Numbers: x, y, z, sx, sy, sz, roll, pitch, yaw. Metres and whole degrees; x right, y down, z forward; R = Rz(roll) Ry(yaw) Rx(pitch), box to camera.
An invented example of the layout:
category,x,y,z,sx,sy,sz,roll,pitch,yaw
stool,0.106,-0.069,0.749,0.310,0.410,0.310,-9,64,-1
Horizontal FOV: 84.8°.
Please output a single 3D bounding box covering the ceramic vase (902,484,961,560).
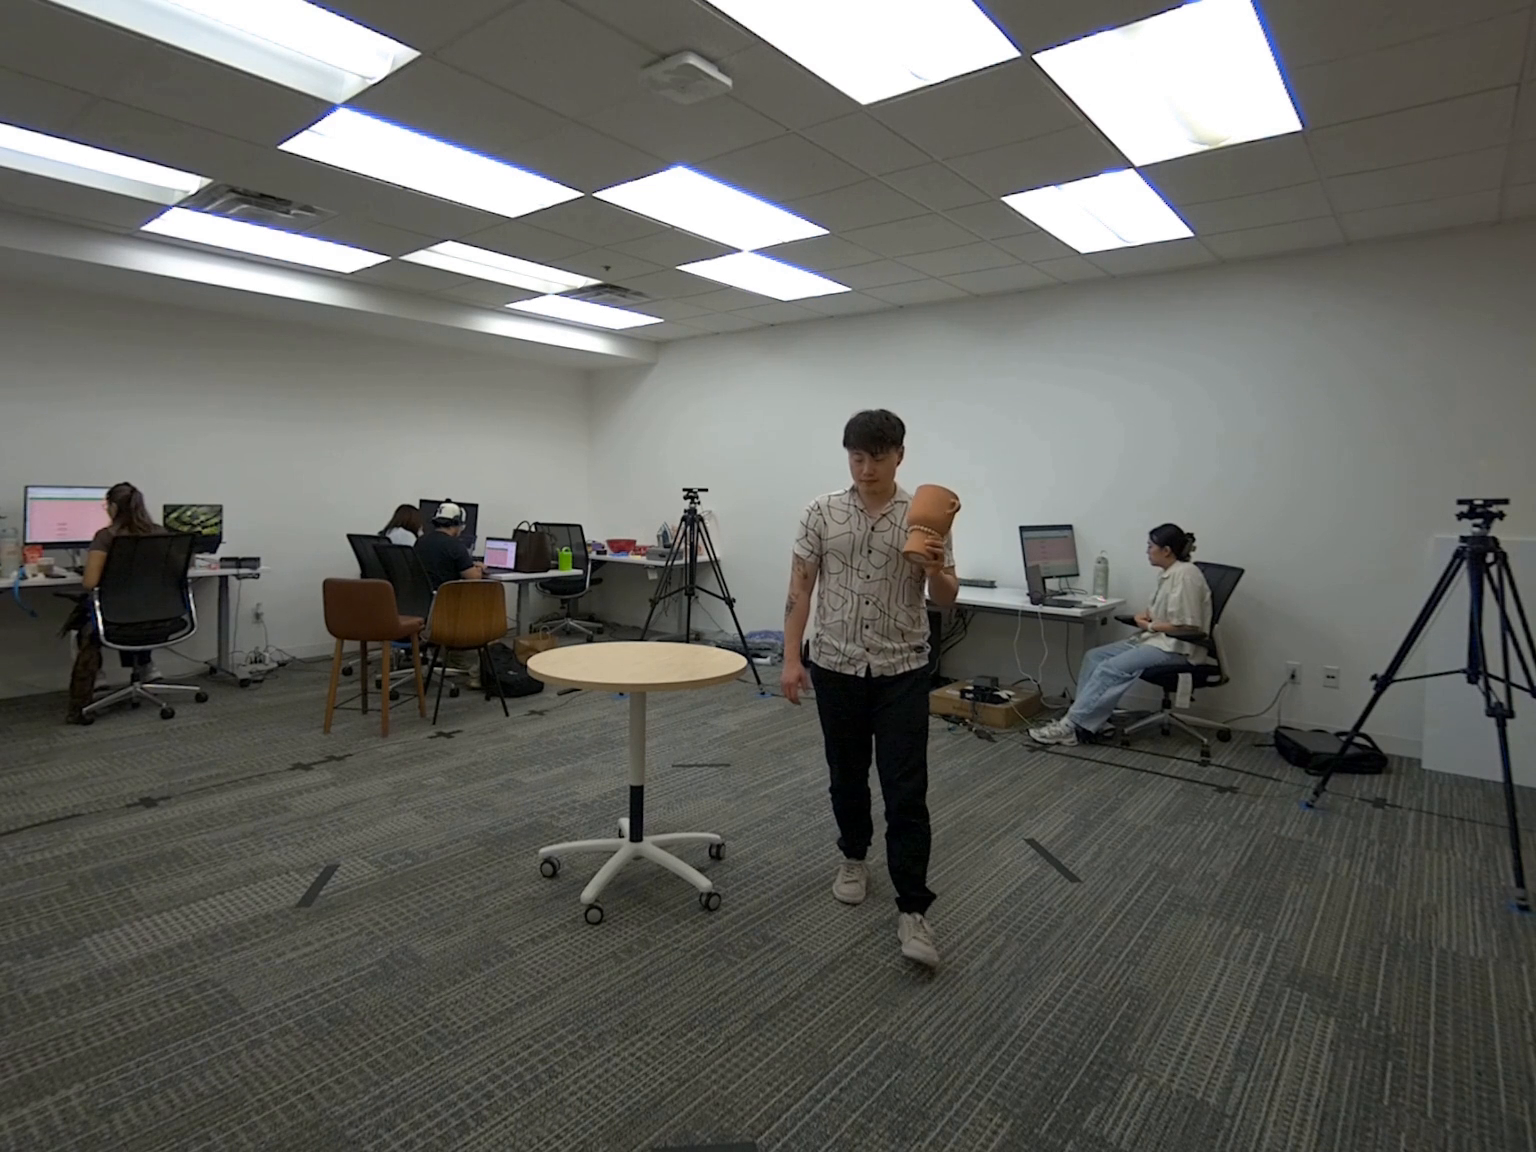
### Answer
category,x,y,z,sx,sy,sz,roll,pitch,yaw
ceramic vase,0.475,-0.155,2.545,0.136,0.221,0.156,20,-18,7
